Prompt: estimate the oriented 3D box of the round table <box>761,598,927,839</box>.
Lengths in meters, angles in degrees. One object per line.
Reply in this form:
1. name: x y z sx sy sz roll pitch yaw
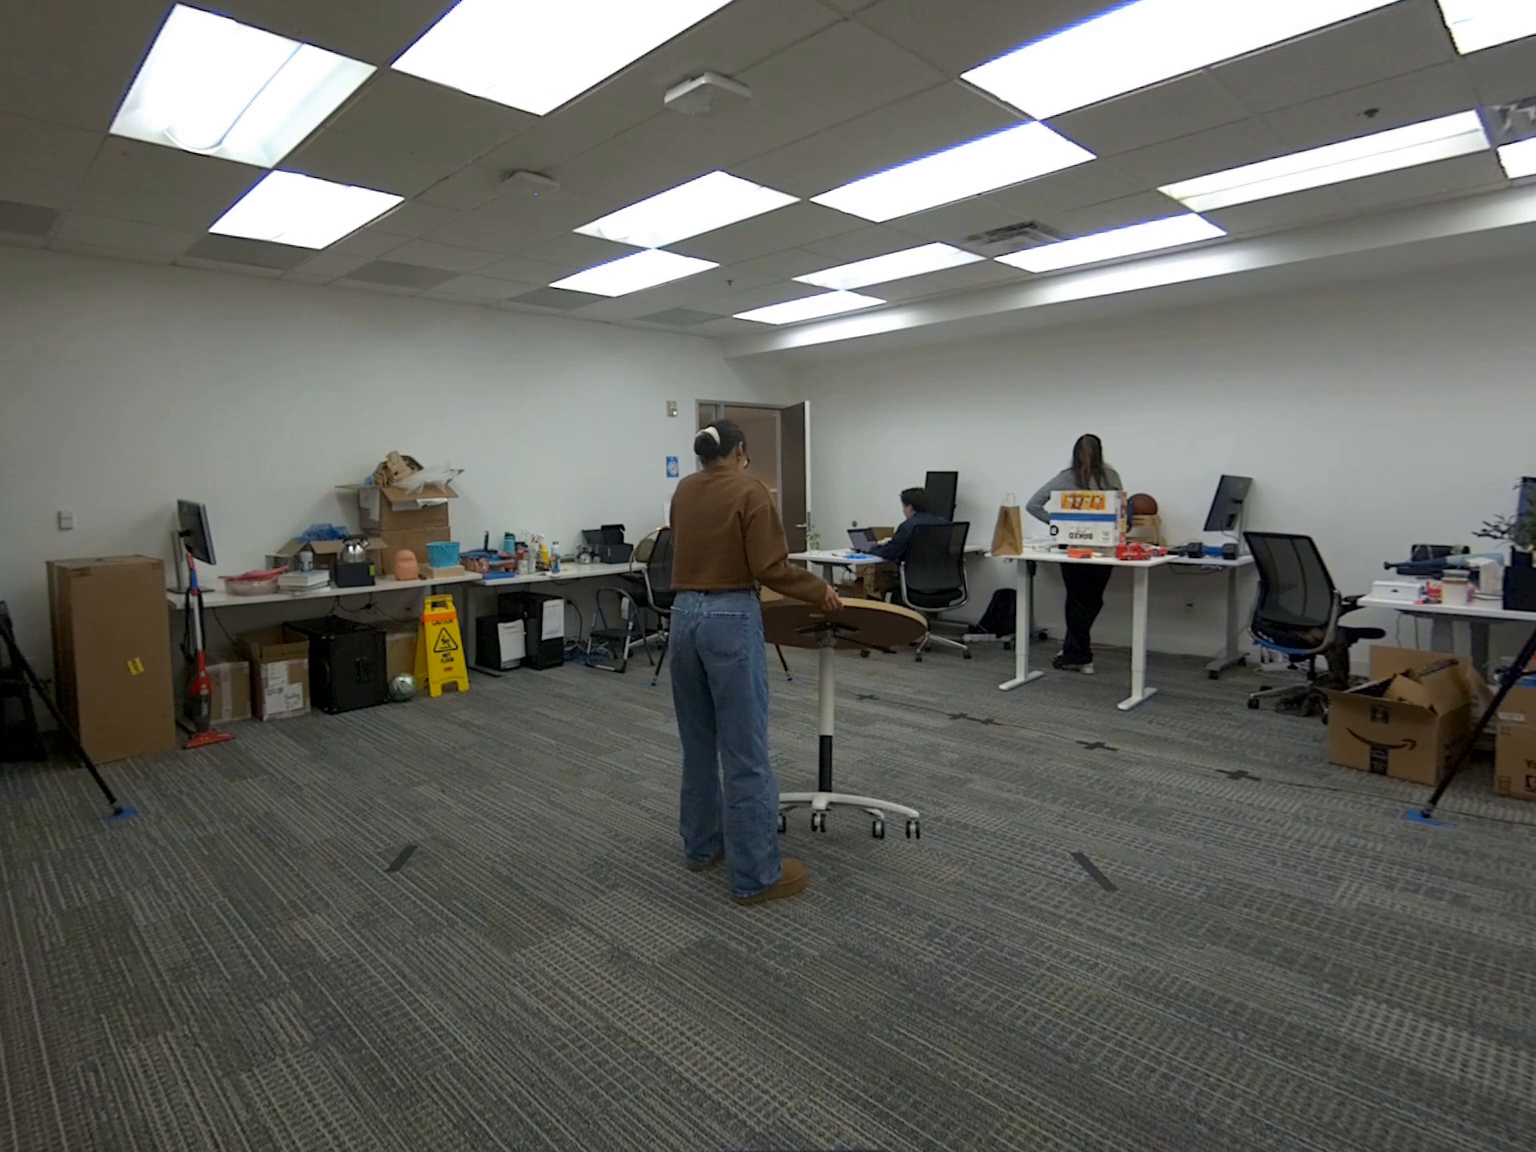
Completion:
1. round table: 0.228 0.565 3.245 0.764 0.806 0.752 3 -18 -1
